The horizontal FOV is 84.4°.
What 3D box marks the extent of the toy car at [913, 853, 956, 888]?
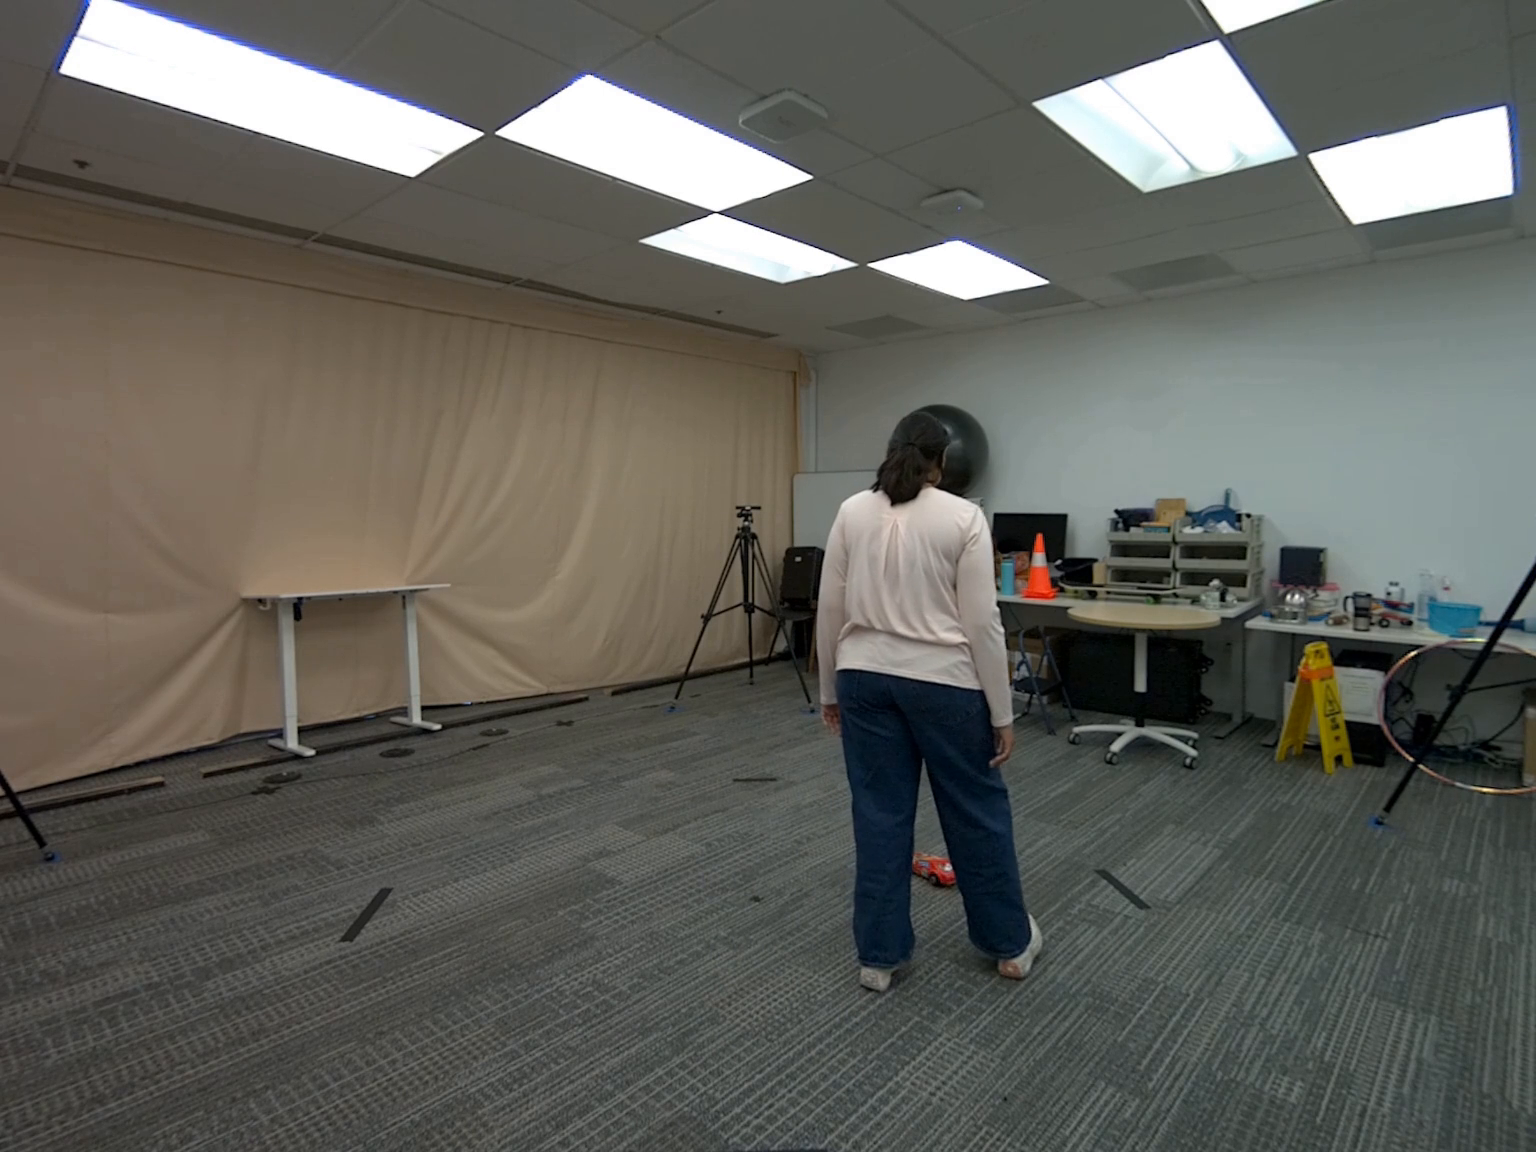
[{"bbox_3d":[0.627,1.100,3.149,0.126,0.083,0.261,-2,-6,-35],"label":"toy car"}]
